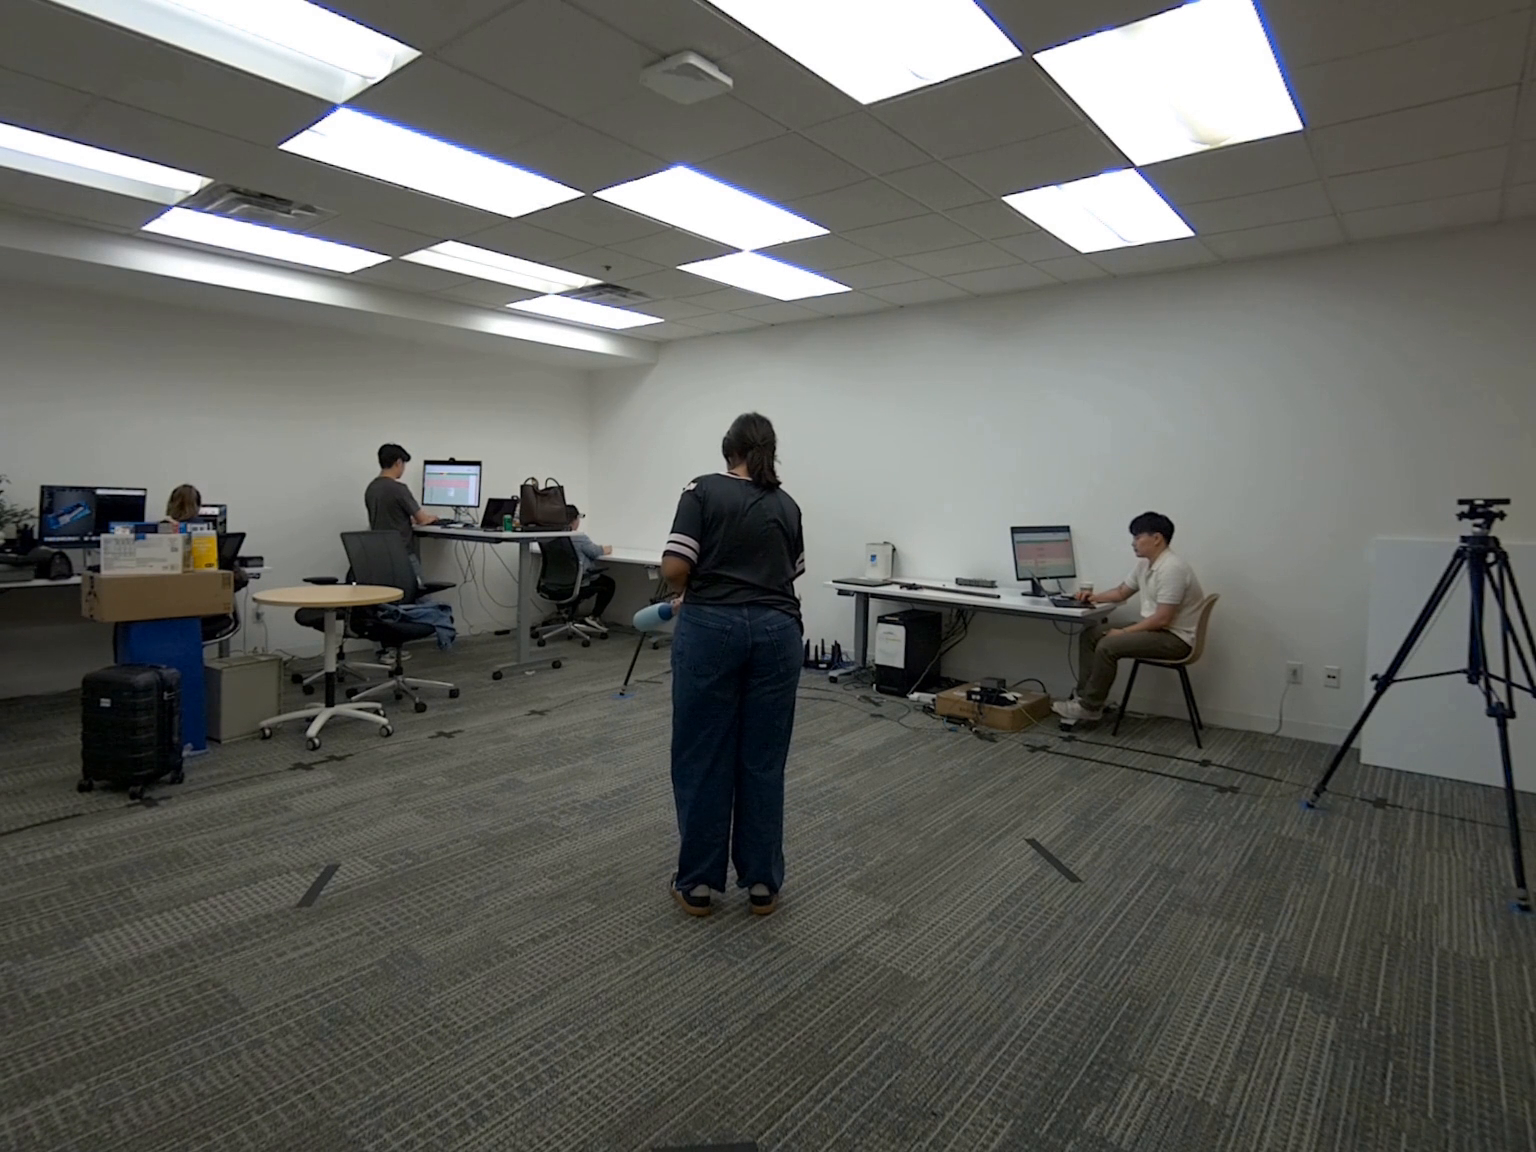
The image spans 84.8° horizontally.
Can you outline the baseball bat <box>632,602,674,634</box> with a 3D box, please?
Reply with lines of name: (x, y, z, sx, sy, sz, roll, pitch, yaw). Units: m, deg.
baseball bat: (-0.395, 0.141, 3.206, 0.087, 0.090, 0.550, -1, -9, -26)
